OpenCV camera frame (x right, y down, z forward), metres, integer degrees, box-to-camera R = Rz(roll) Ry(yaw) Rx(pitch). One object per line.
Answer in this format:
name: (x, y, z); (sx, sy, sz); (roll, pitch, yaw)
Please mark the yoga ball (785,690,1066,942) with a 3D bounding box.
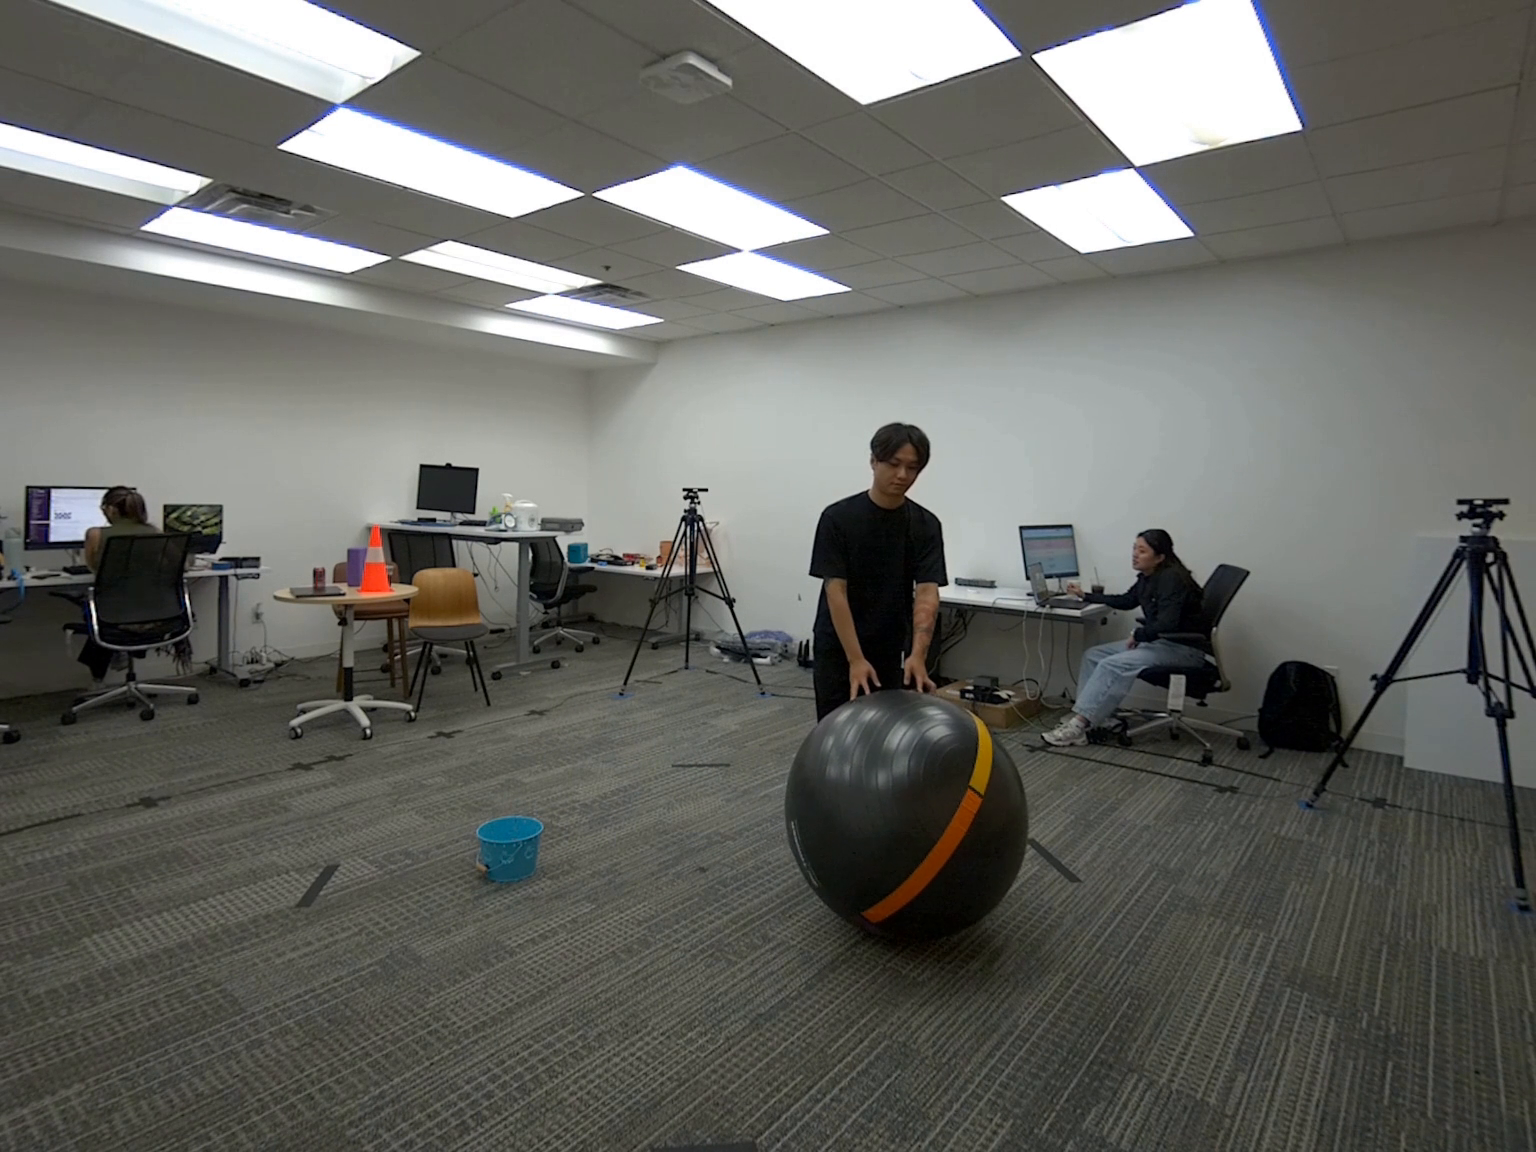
yoga ball: (0.434, 0.757, 2.721); (0.757, 0.755, 0.762); (1, 4, -2)
